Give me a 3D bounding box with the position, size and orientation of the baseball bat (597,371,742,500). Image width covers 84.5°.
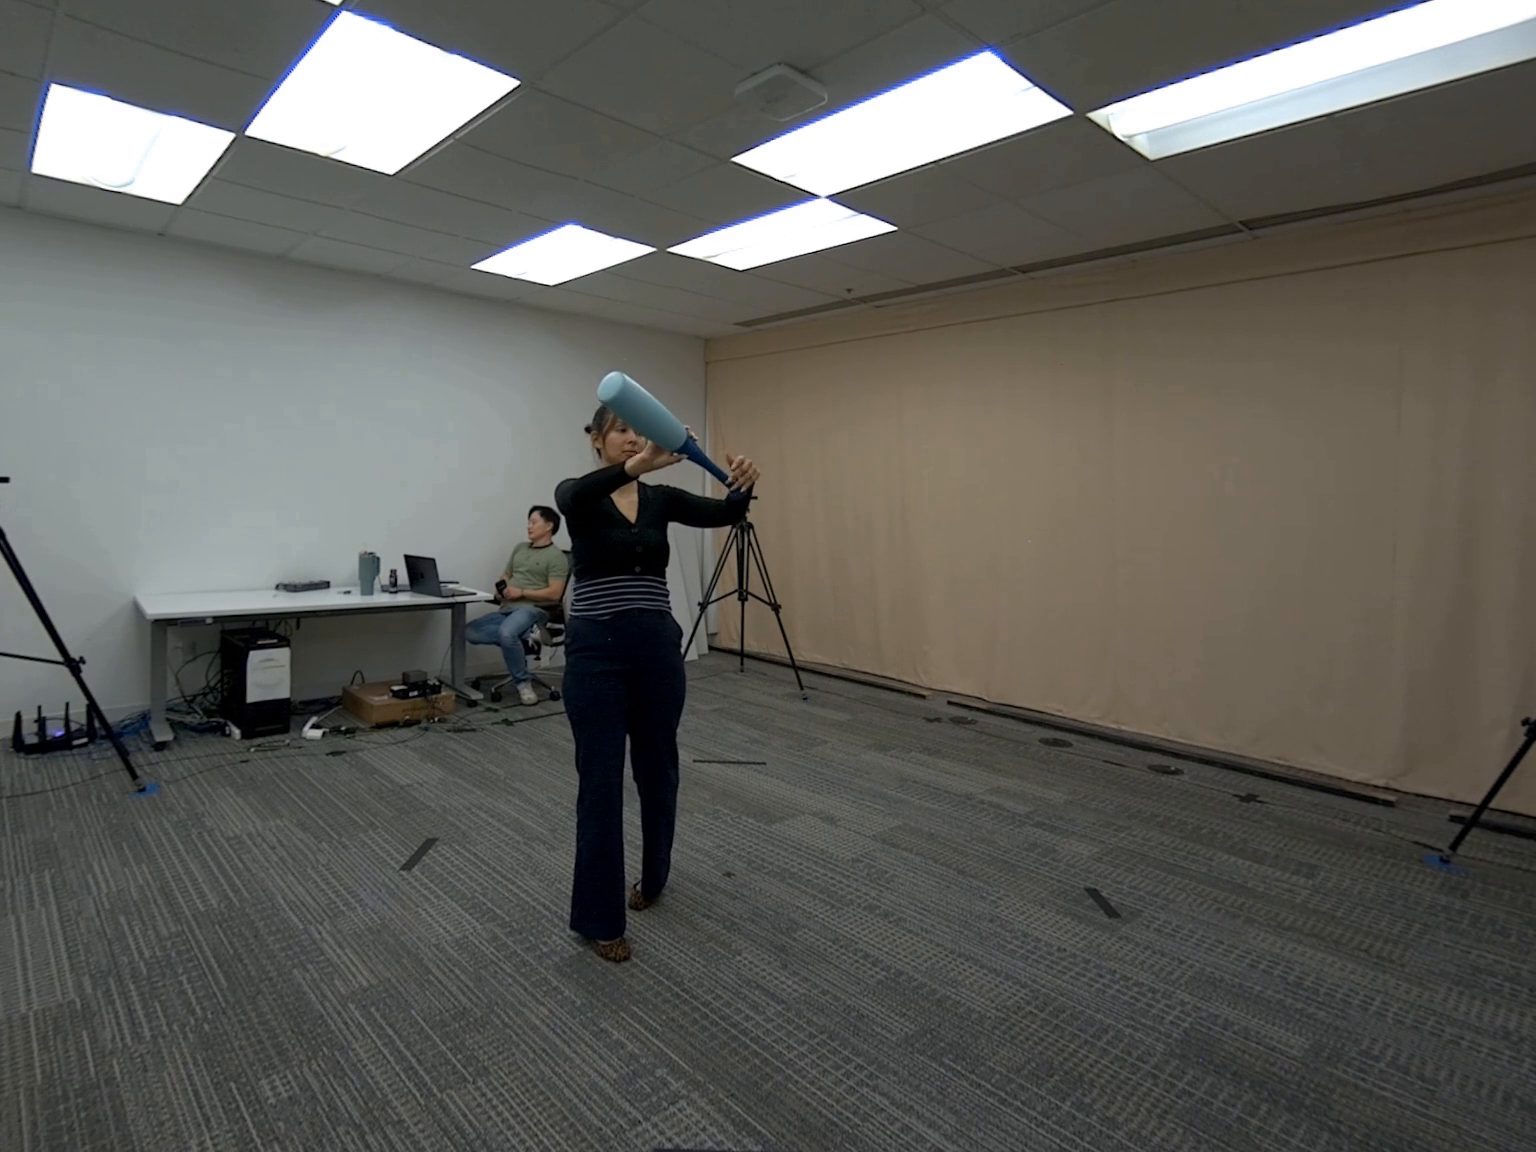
[{"bbox_3d":[-0.232,-0.329,2.093,0.091,0.090,0.526,4,-21,35],"label":"baseball bat"}]
